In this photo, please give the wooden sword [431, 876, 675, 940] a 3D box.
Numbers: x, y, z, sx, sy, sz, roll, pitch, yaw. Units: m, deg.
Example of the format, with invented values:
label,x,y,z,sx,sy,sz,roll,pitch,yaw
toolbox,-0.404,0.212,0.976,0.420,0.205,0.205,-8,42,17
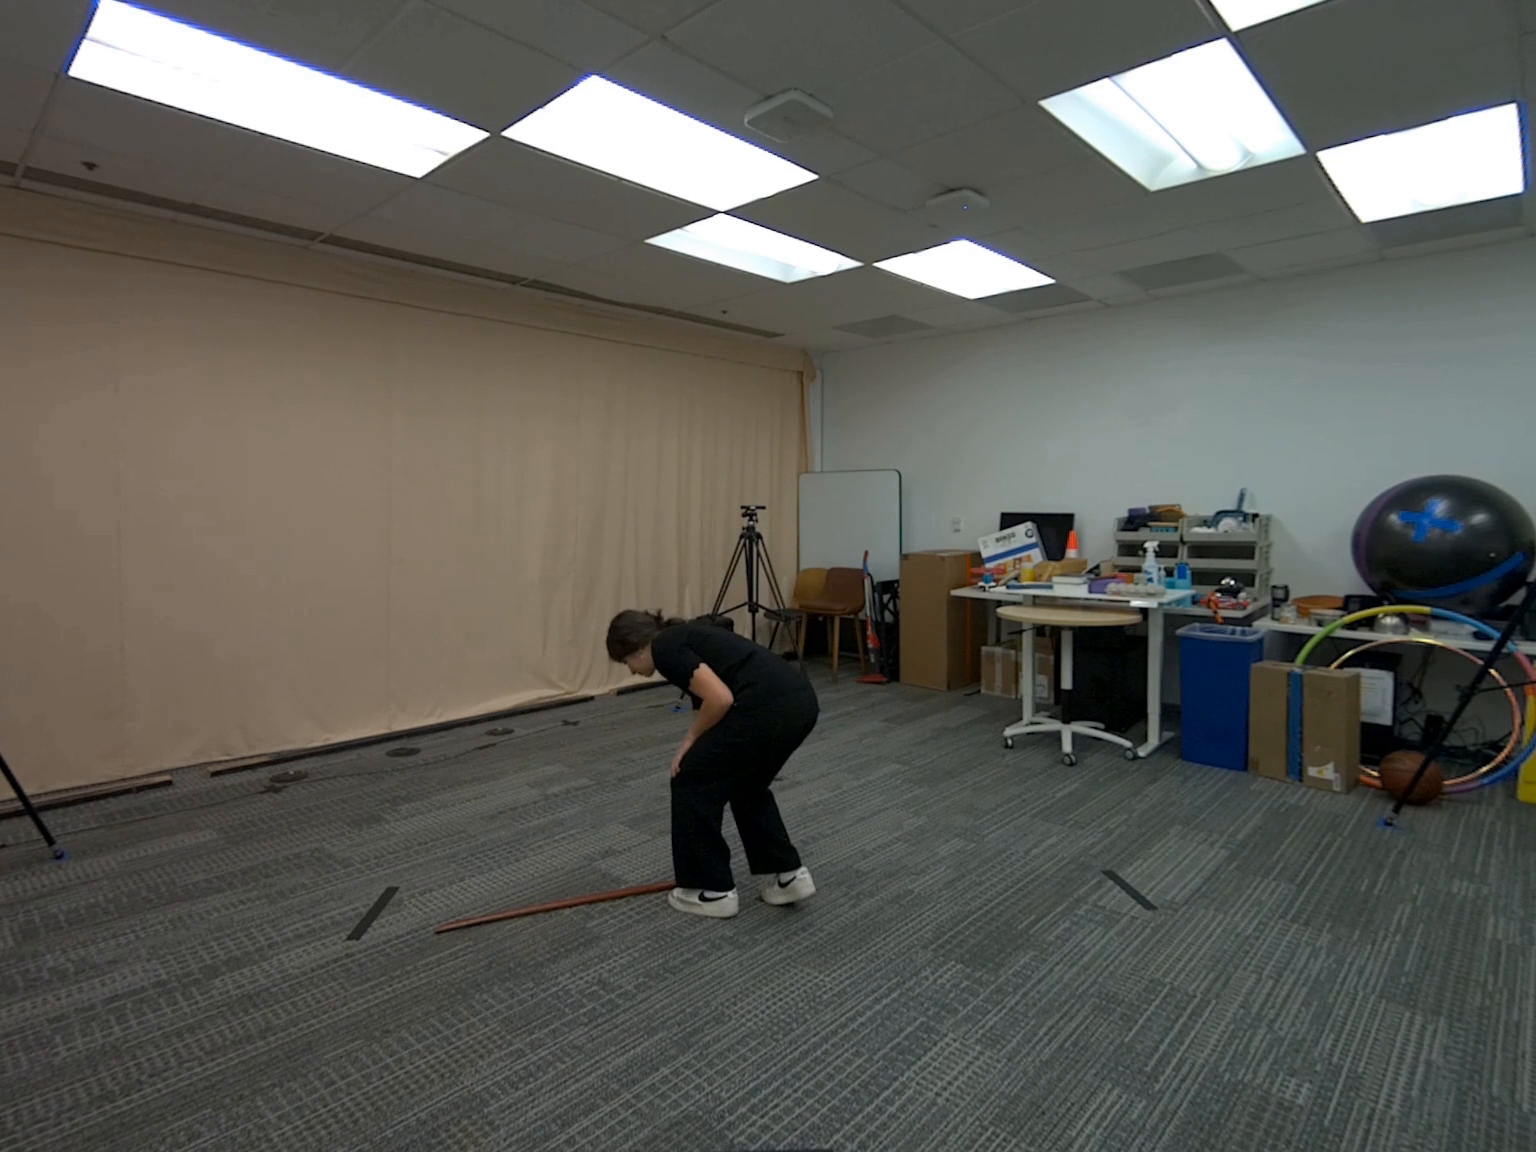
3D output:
label,x,y,z,sx,sy,sz,roll,pitch,yaw
wooden sword,-0.636,1.134,2.959,1.002,0.053,0.024,-3,-39,-23
